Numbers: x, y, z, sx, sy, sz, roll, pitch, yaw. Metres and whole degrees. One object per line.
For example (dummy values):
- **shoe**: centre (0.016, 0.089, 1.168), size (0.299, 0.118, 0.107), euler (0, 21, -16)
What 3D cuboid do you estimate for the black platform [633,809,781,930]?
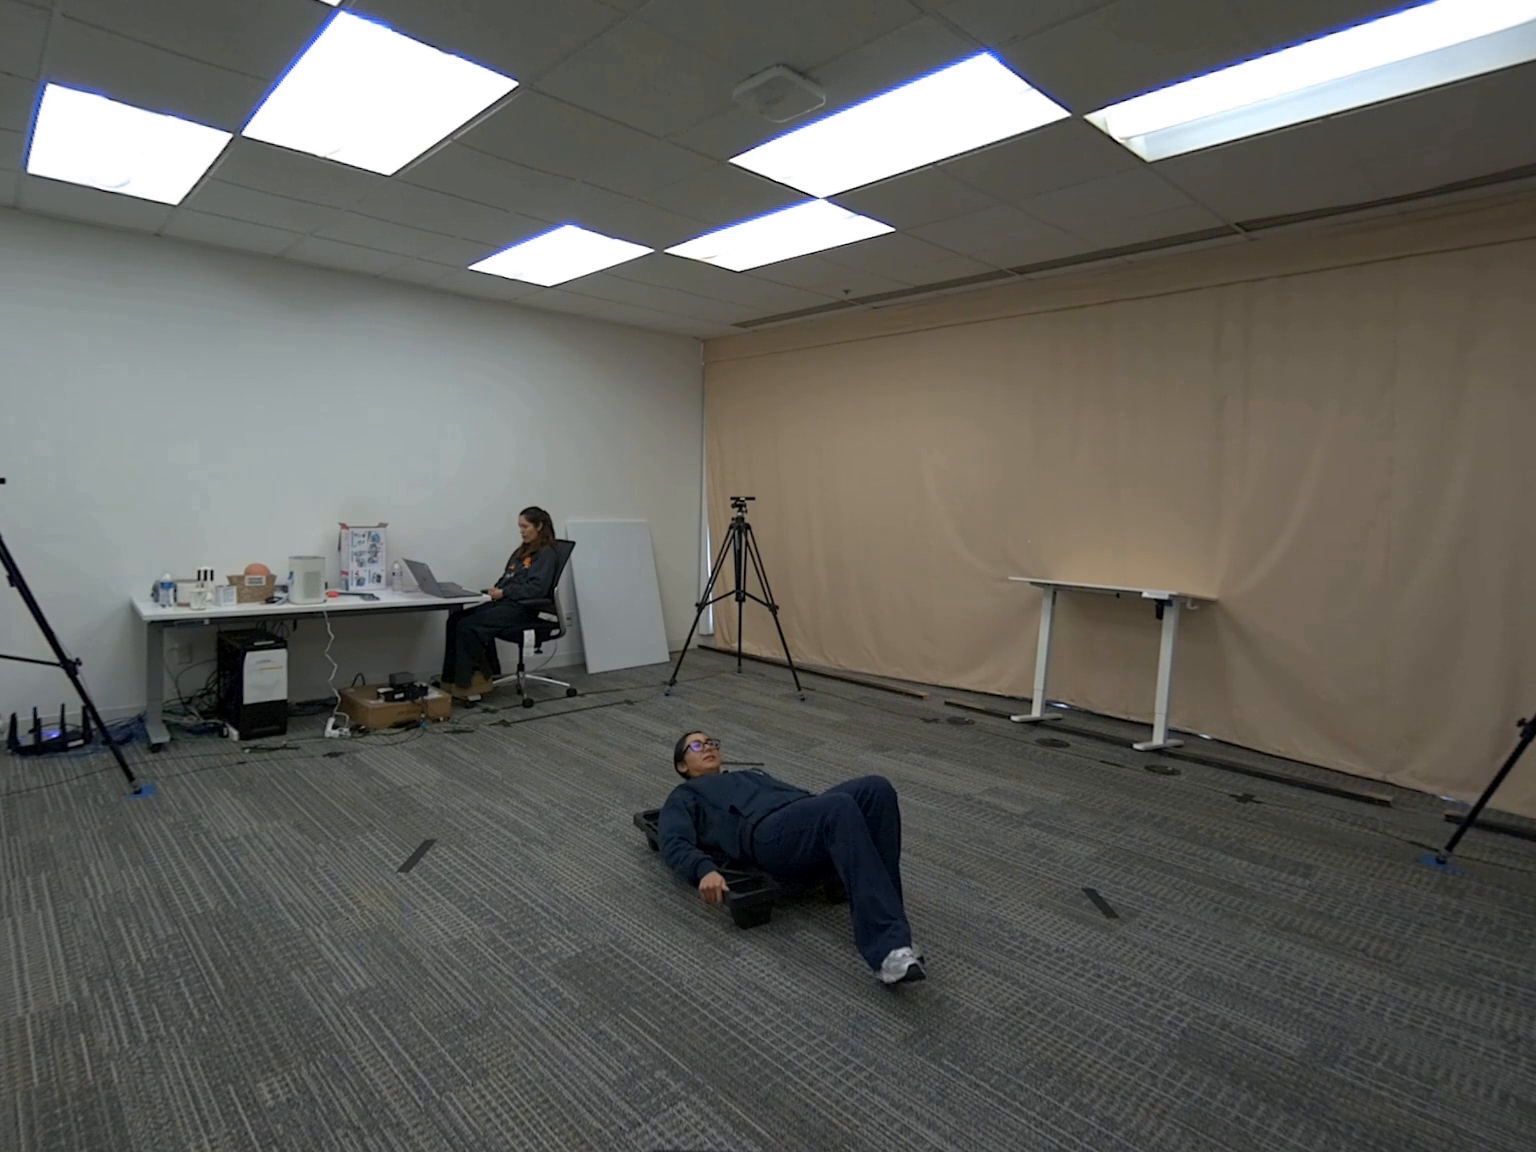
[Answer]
- **black platform**: centre (-0.078, 1.038, 3.155), size (0.593, 0.143, 0.824), euler (-3, 7, -31)
